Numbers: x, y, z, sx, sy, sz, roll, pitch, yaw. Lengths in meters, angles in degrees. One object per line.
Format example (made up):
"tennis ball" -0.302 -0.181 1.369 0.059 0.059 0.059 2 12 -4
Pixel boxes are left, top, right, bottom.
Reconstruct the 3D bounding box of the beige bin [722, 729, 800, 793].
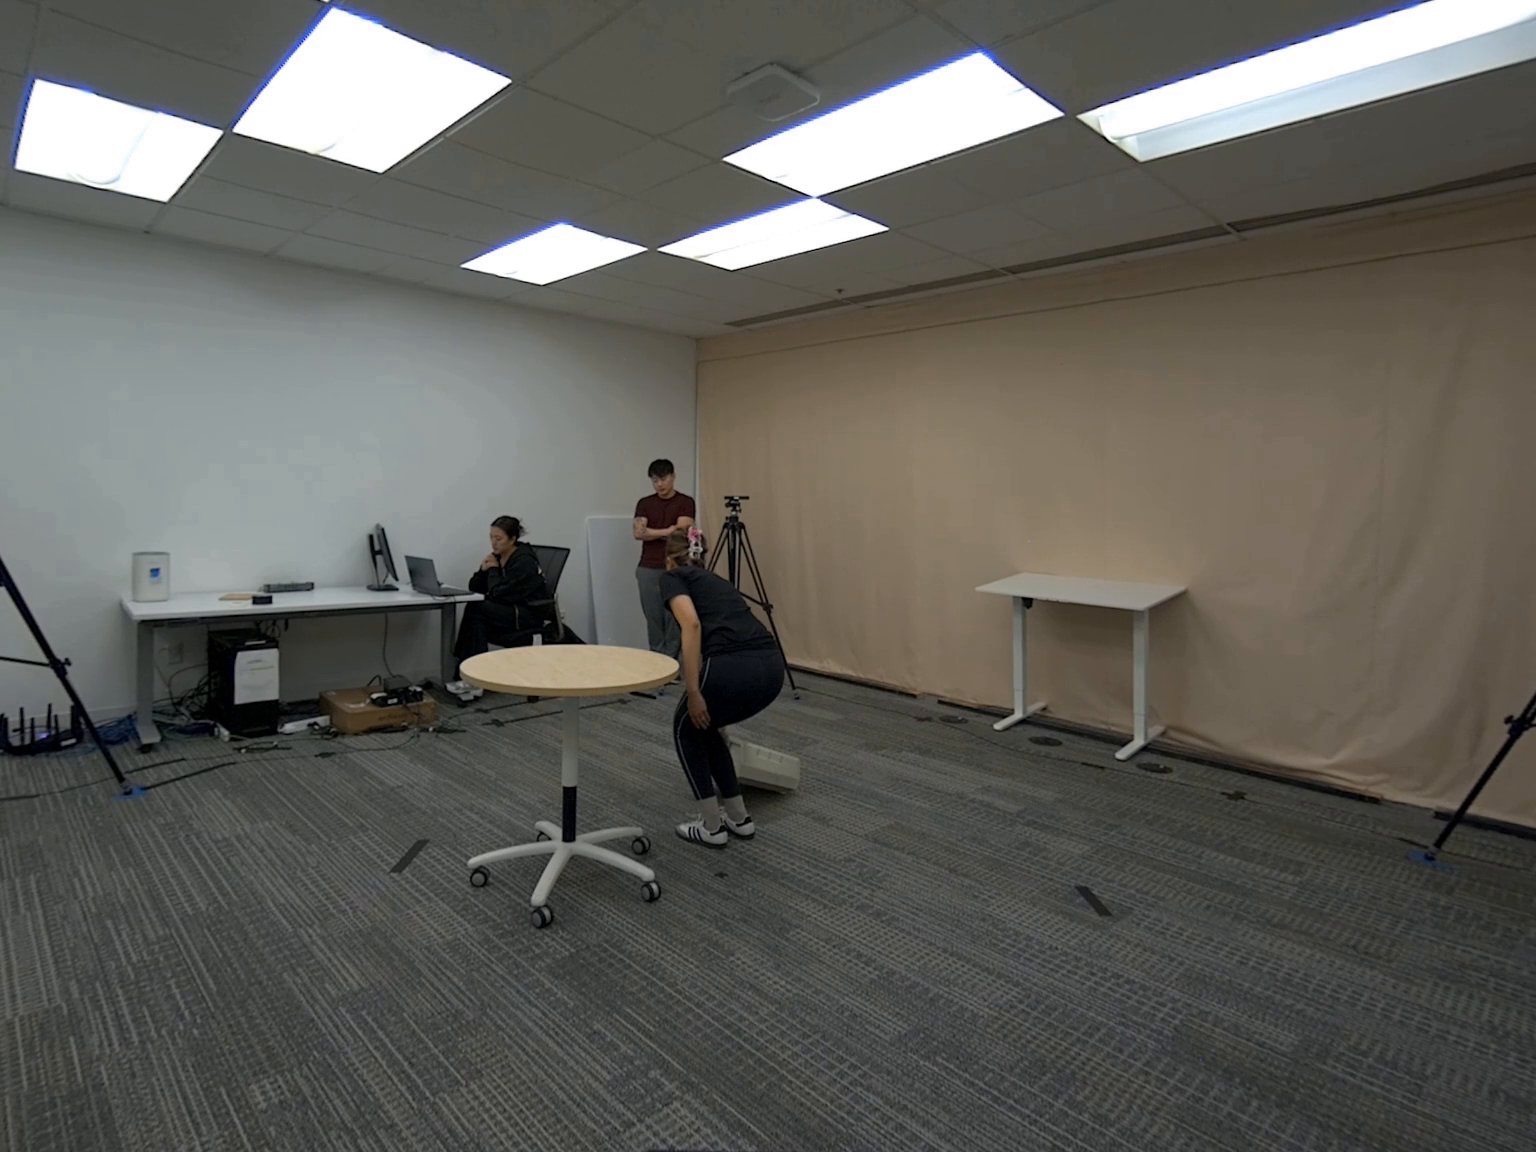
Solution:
"beige bin" -0.126 0.877 3.962 0.387 0.190 0.409 4 -15 45
